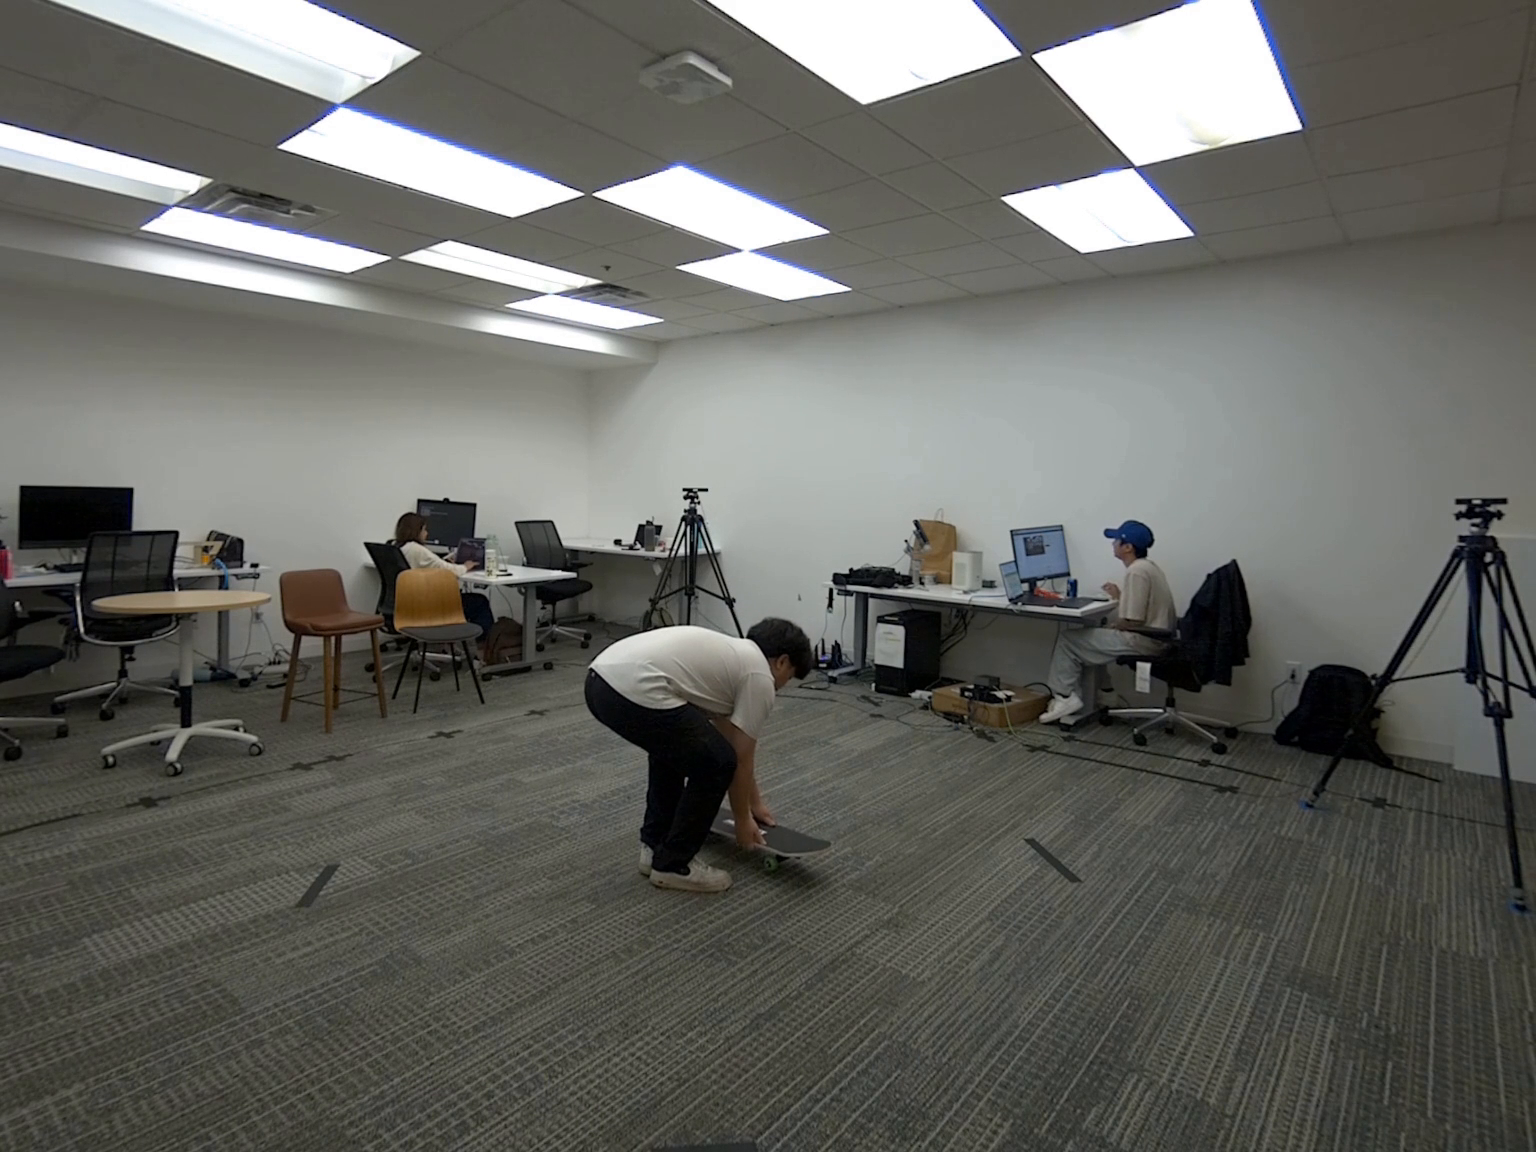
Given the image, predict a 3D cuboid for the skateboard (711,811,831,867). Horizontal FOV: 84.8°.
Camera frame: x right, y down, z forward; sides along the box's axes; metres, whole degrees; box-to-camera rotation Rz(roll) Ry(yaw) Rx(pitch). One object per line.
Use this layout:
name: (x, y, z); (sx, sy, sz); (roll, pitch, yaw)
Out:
skateboard: (-0.098, 0.987, 3.260); (0.812, 0.110, 0.188); (4, 6, 43)
